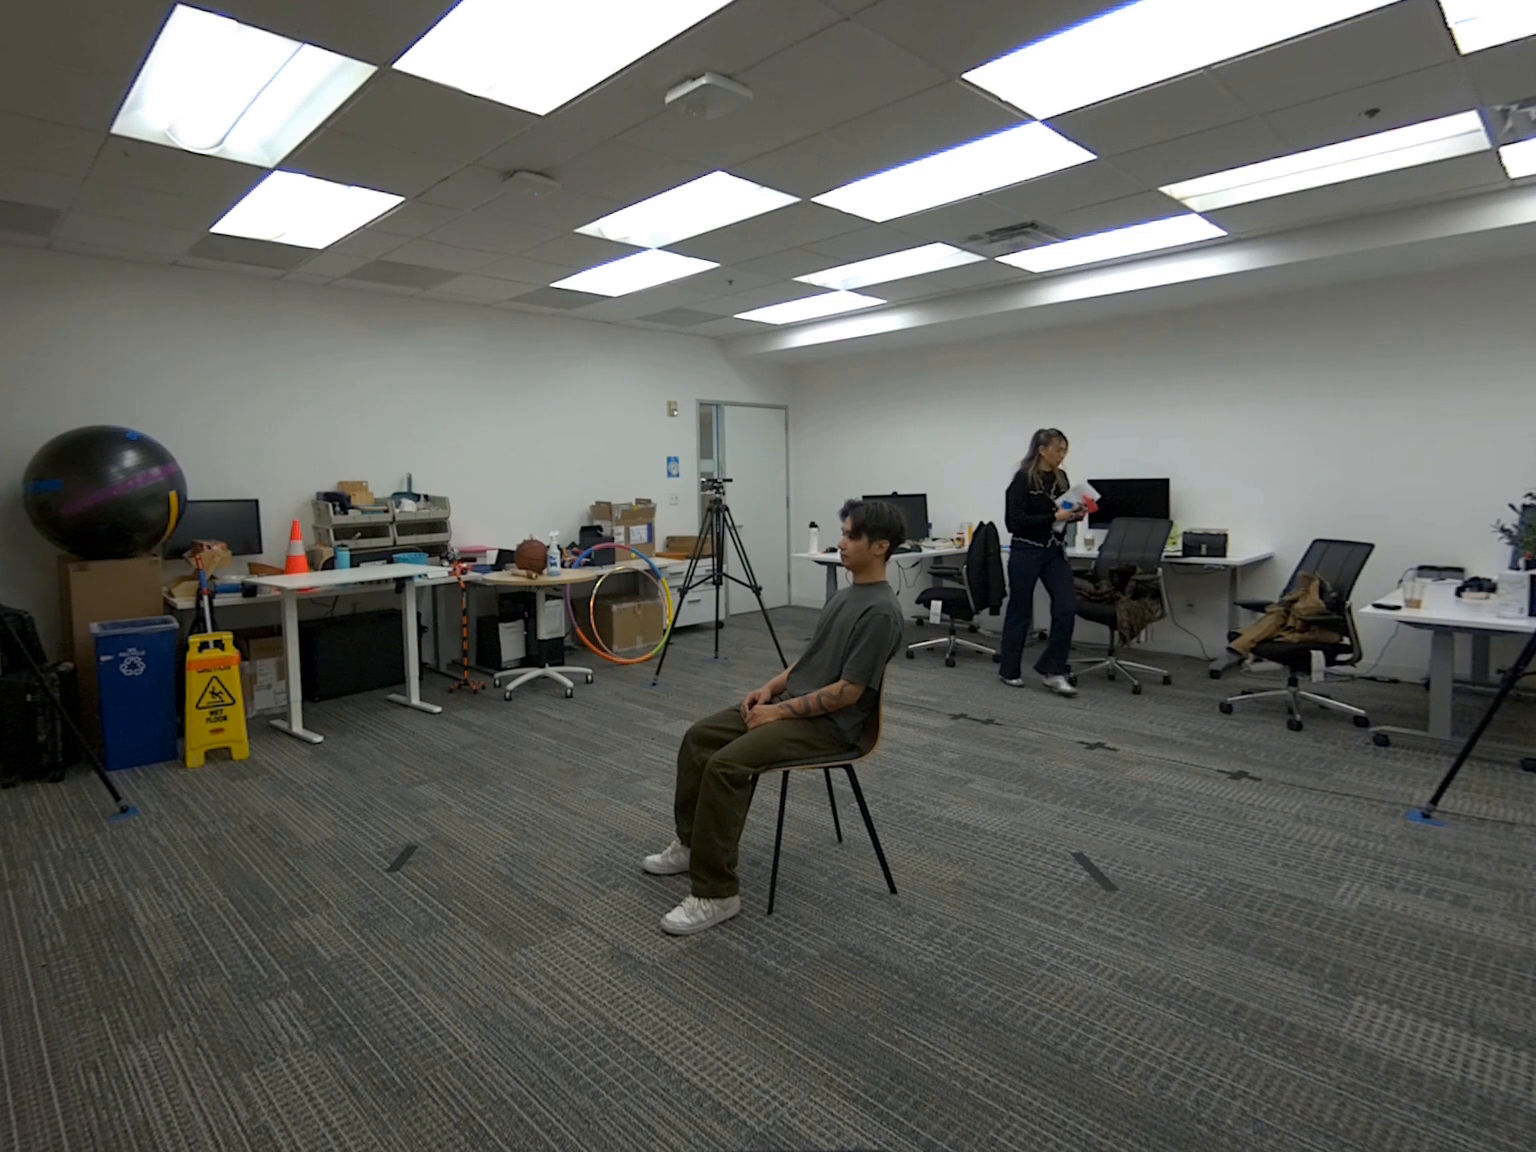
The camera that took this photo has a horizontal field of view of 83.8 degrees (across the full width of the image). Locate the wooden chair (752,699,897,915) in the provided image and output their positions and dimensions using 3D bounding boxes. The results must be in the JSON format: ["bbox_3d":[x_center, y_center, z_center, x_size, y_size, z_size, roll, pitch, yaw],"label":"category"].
[{"bbox_3d":[0.136,0.622,2.979,0.514,0.875,0.488,2,4,-18],"label":"wooden chair"}]
